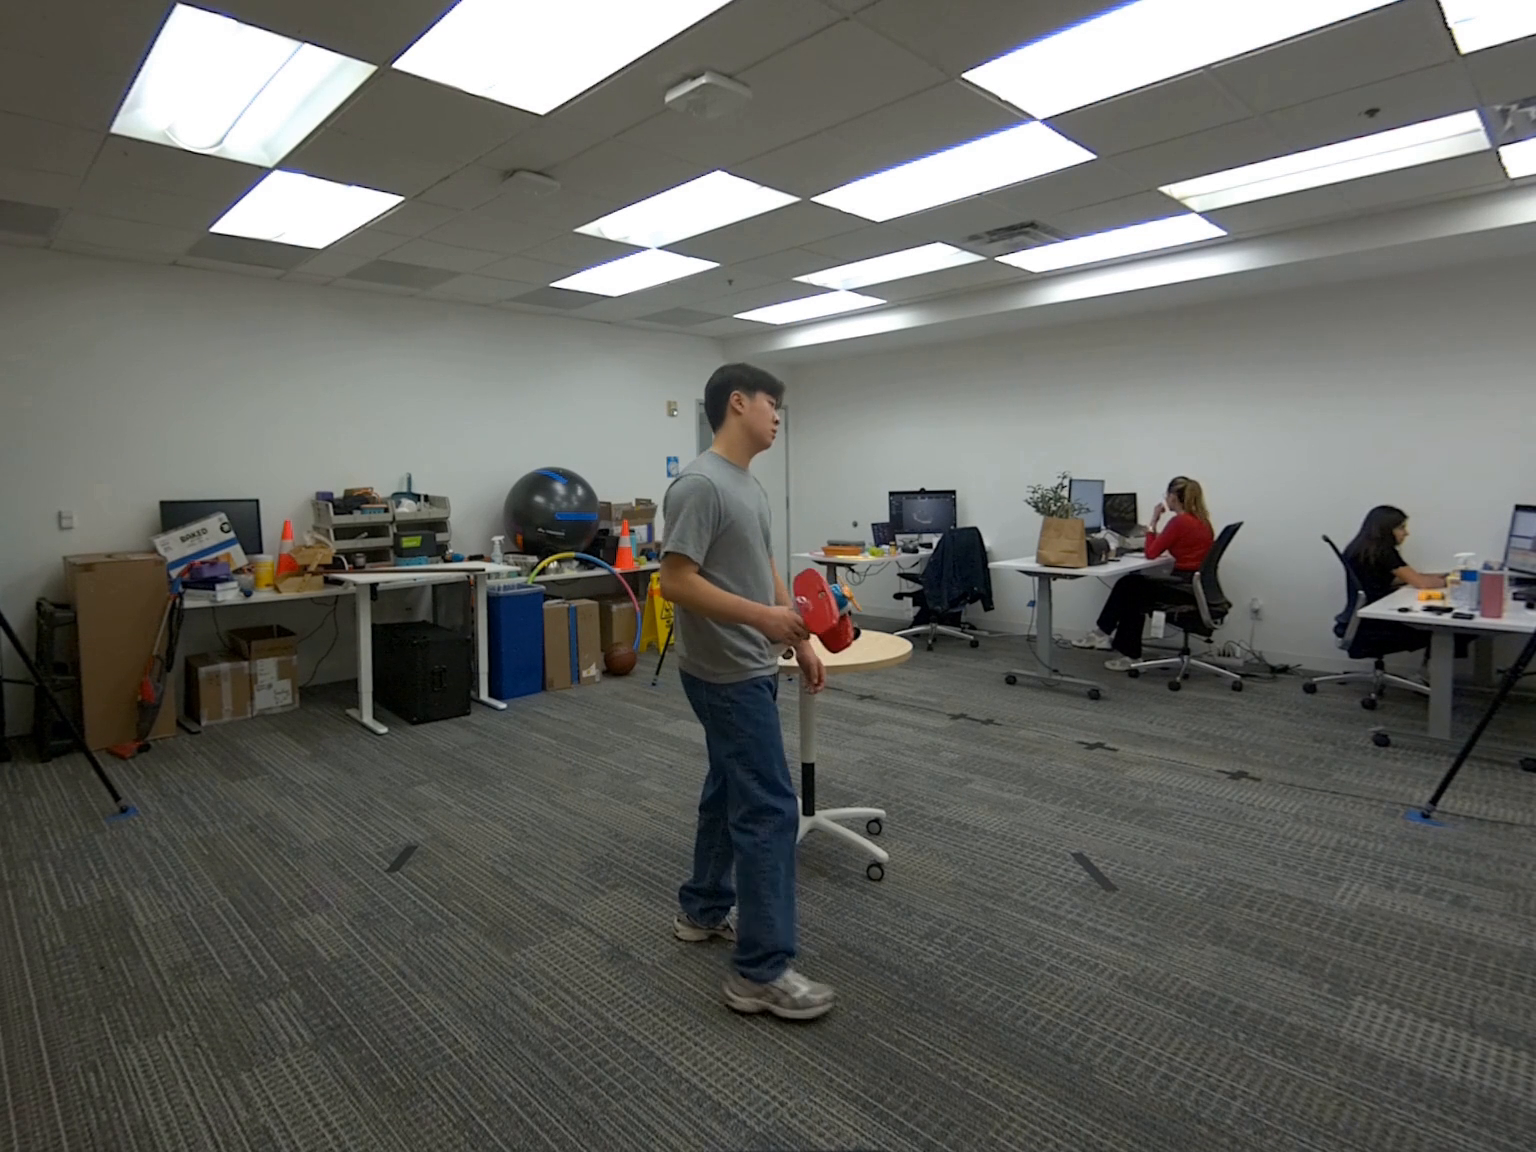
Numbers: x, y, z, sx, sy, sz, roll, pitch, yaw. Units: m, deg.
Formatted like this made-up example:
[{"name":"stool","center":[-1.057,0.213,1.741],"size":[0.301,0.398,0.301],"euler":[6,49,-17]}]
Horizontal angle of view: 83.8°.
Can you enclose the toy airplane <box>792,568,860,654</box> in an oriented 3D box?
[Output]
[{"name":"toy airplane","center":[0.122,0.125,2.258],"size":[0.258,0.151,0.261],"euler":[-39,39,-23]}]
